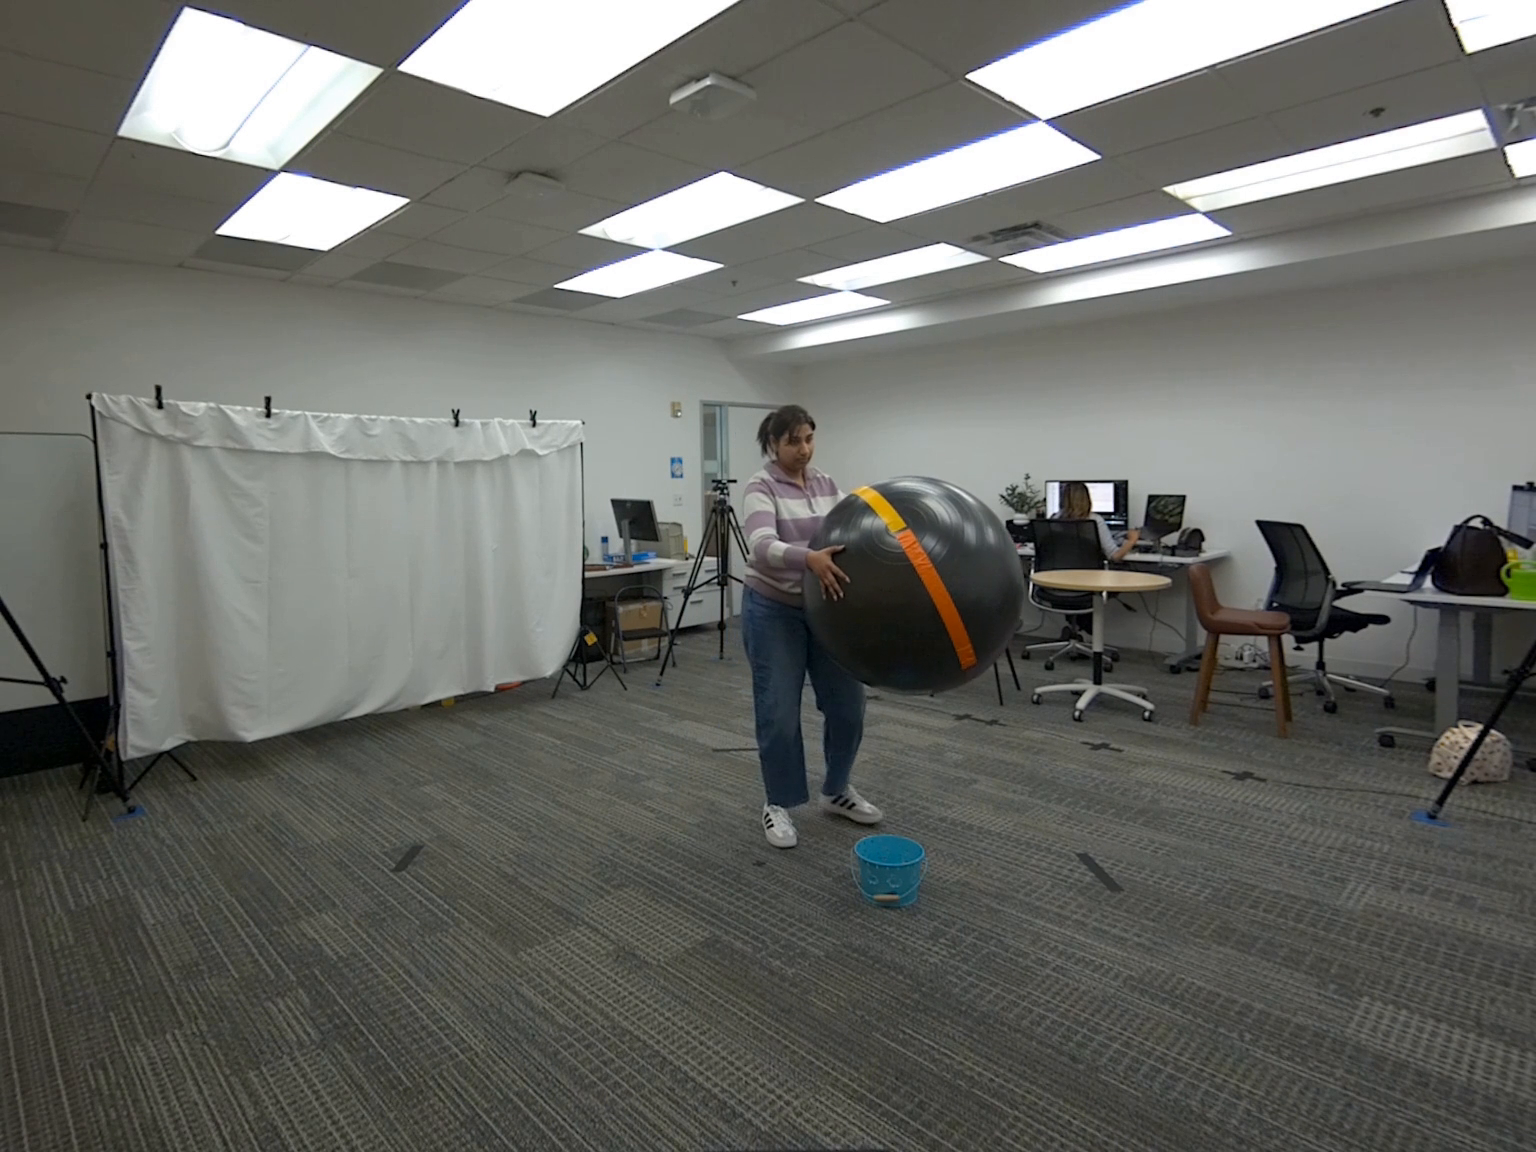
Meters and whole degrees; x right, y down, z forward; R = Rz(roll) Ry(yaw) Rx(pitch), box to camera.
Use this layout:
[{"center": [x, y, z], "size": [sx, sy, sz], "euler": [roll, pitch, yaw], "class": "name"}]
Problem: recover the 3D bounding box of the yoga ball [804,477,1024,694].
[{"center": [0.505, 0.041, 2.978], "size": [0.757, 0.755, 0.762], "euler": [-1, 5, -2], "class": "yoga ball"}]
